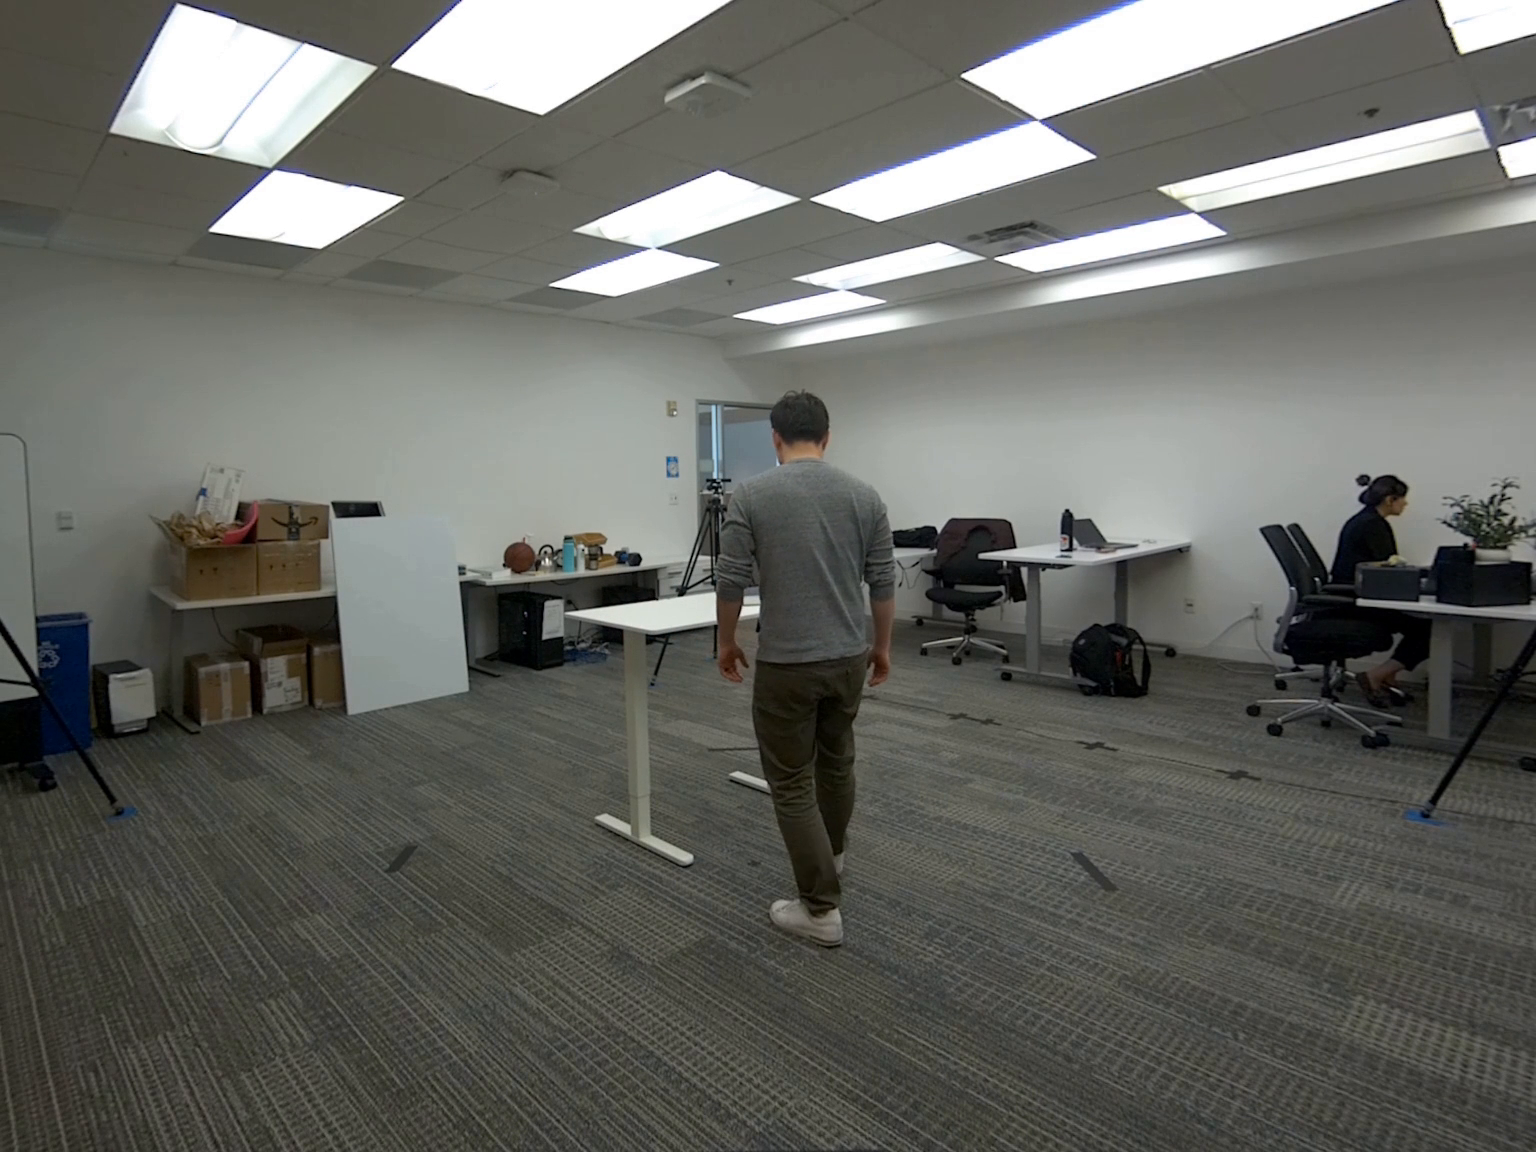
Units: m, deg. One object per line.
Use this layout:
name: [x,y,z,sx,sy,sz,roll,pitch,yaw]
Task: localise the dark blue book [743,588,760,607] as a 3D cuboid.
dark blue book: [-0.045,0.085,3.596,0.162,0.045,0.248,-3,4,-9]
